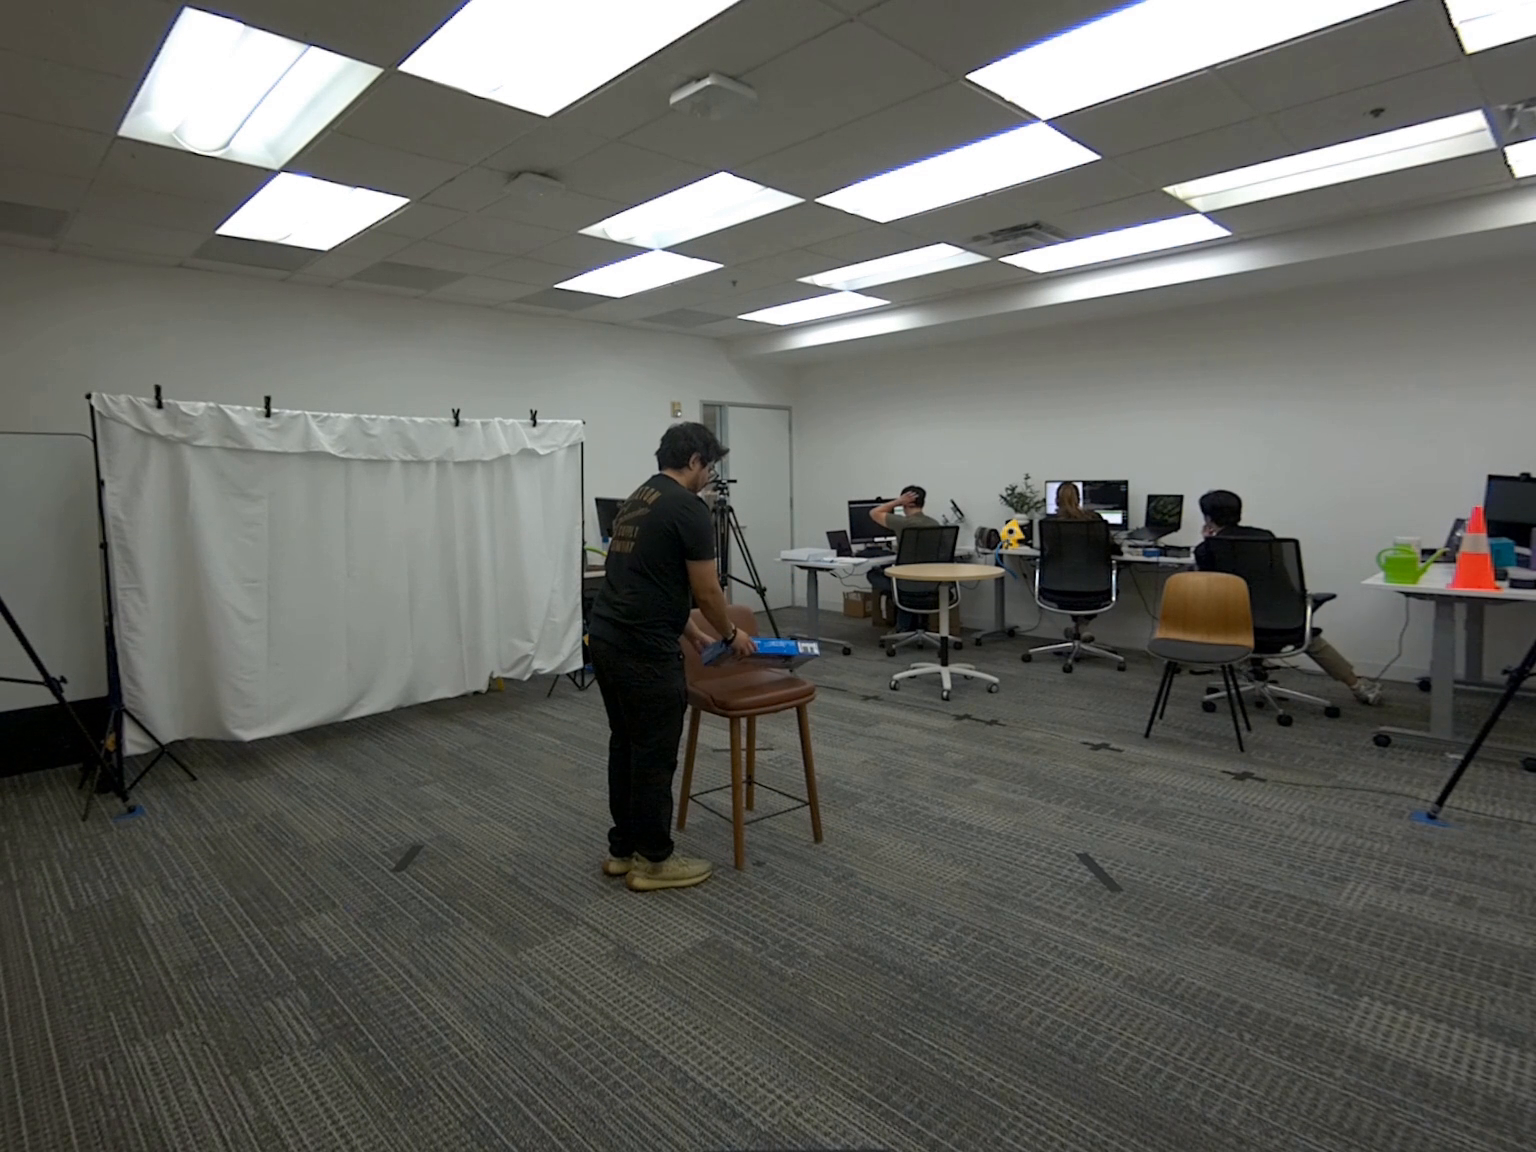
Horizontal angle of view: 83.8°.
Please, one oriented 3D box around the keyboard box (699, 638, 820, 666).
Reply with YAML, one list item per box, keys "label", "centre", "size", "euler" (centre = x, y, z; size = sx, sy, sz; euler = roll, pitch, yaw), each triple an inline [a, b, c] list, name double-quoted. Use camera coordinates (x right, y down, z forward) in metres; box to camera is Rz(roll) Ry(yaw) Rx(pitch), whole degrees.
- label: "keyboard box"
  centre: [-0.024, 0.293, 3.273]
  size: [0.424, 0.060, 0.177]
  euler: [6, -27, -33]
